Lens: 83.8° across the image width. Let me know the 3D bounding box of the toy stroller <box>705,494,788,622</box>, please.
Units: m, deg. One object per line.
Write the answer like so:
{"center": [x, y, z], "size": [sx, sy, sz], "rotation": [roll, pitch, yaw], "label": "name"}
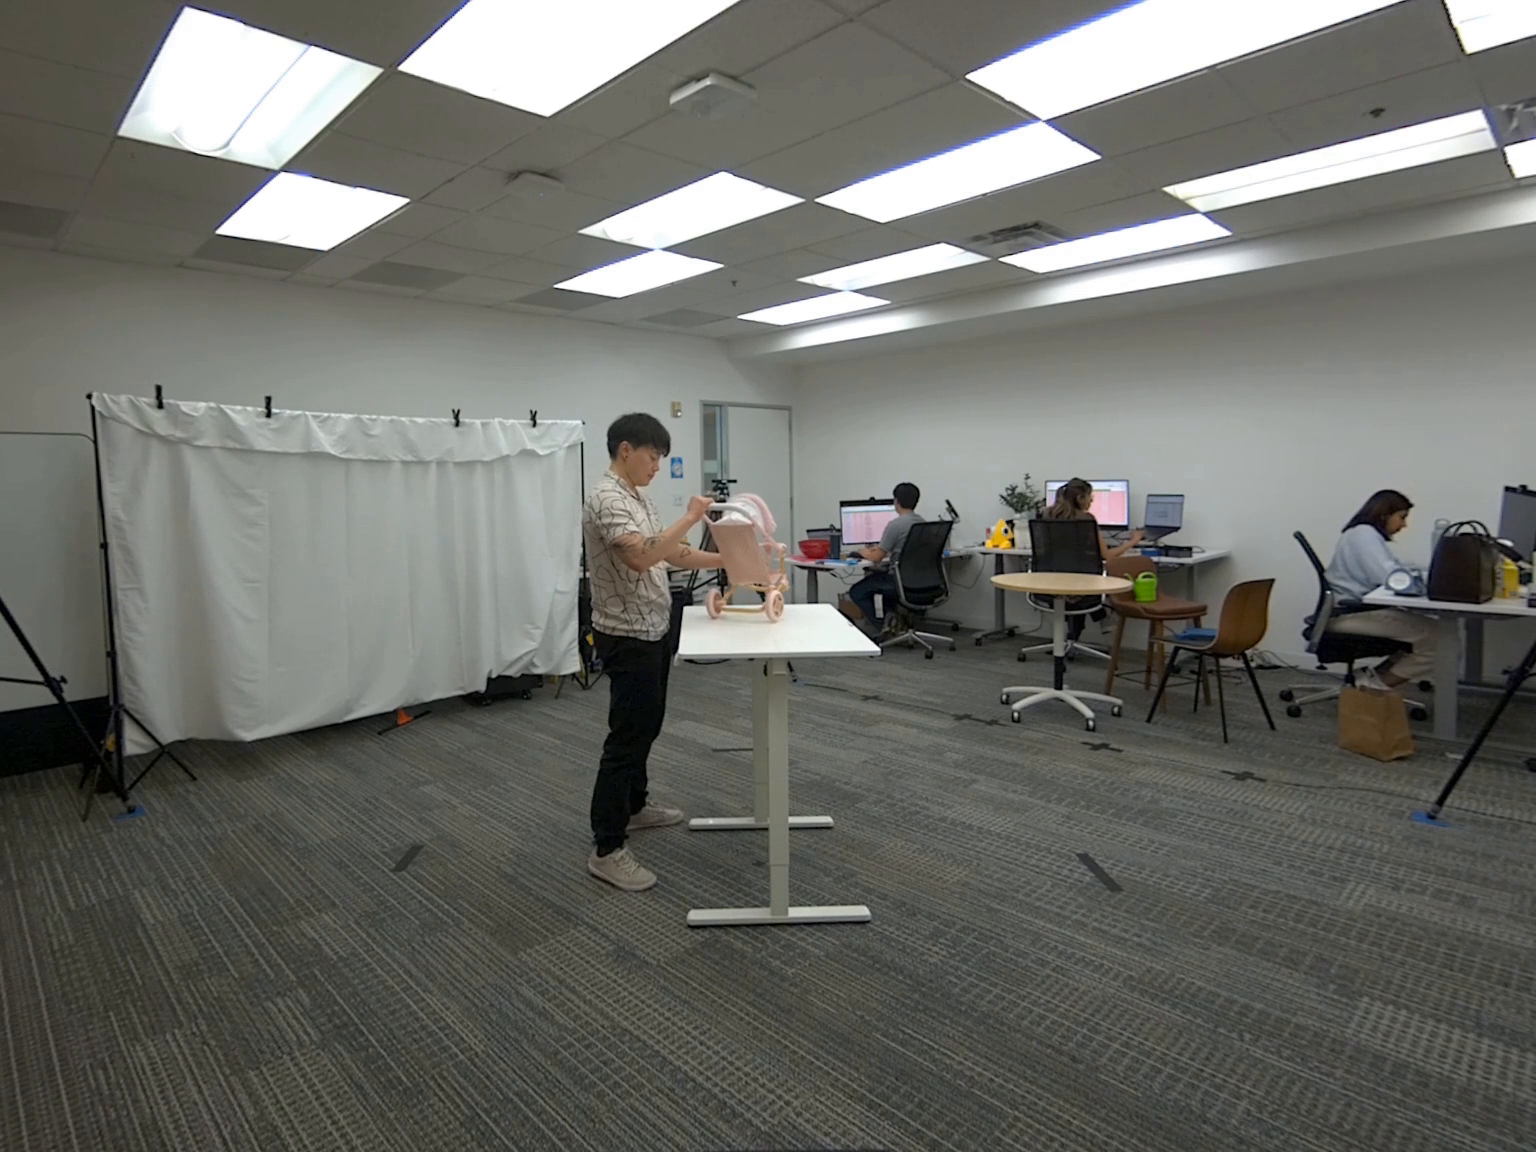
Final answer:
{"center": [-0.069, -0.068, 3.178], "size": [0.289, 0.526, 0.338], "rotation": [1, 19, 32], "label": "toy stroller"}
